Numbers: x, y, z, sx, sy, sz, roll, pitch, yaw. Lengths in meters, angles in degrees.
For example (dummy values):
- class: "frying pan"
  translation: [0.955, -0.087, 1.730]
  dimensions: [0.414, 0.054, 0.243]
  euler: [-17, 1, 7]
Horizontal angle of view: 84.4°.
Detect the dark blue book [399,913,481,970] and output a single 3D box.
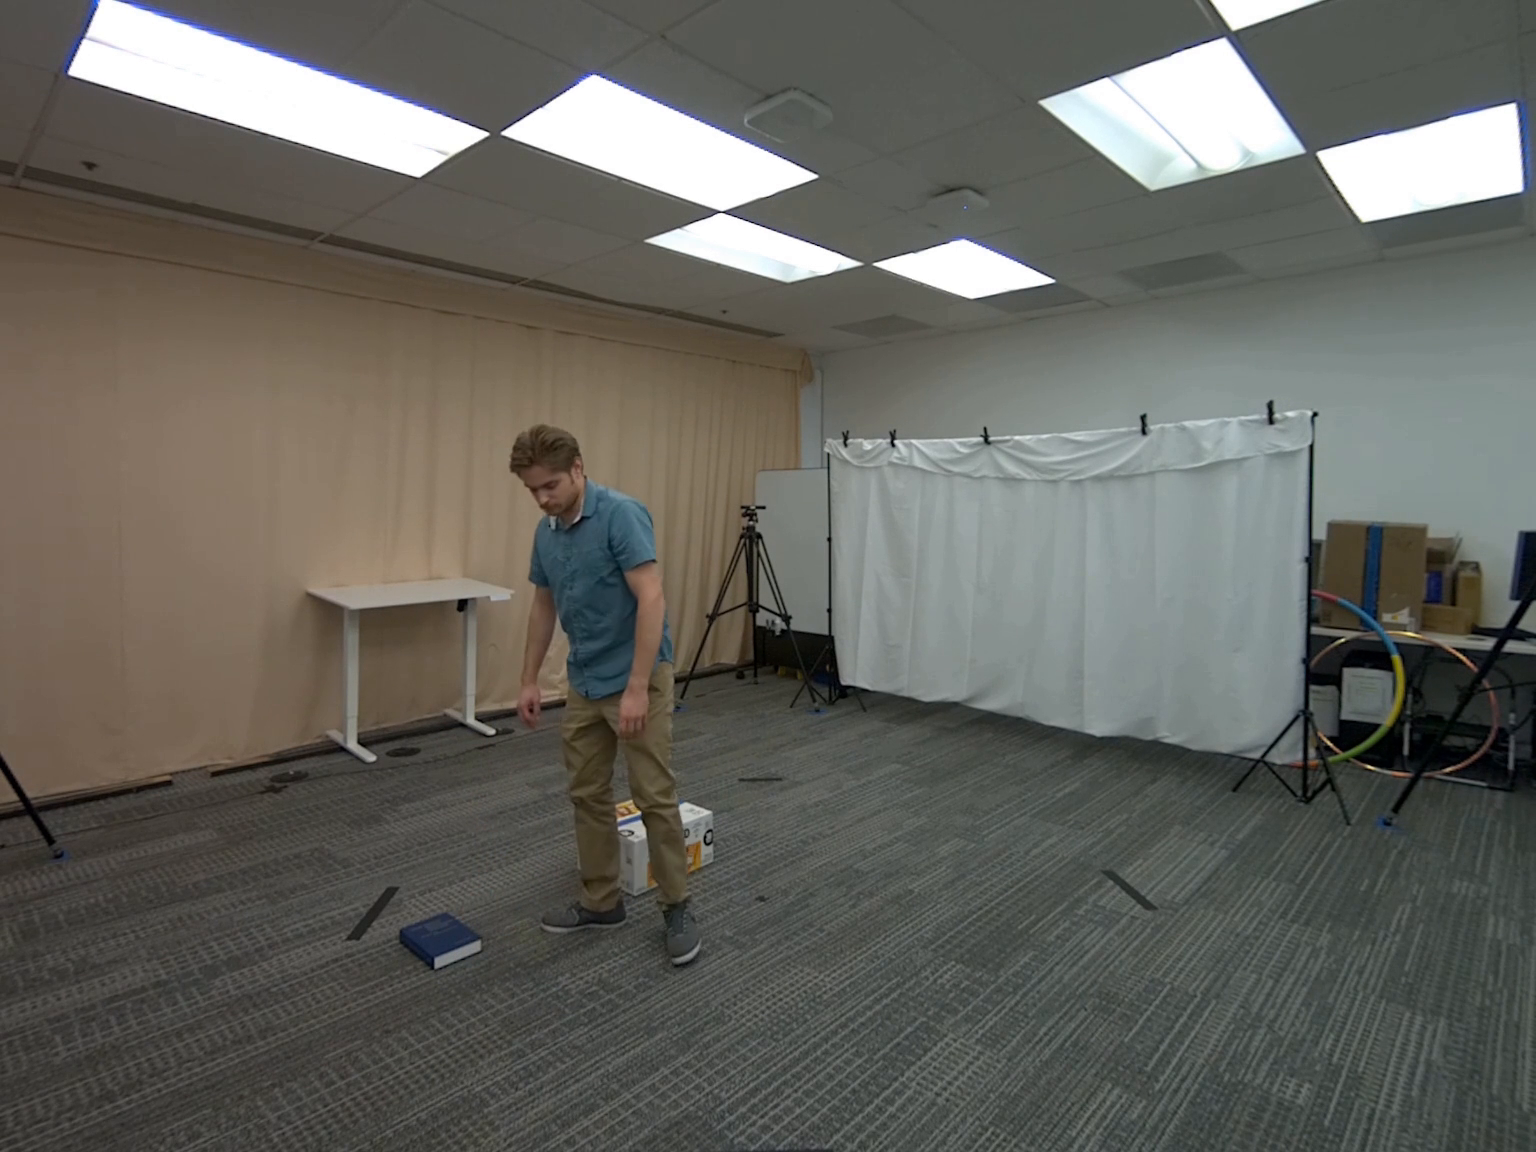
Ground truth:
- class: "dark blue book"
  translation: [-1.040, 1.162, 2.667]
  dimensions: [0.253, 0.045, 0.158]
  euler: [3, 5, 43]
